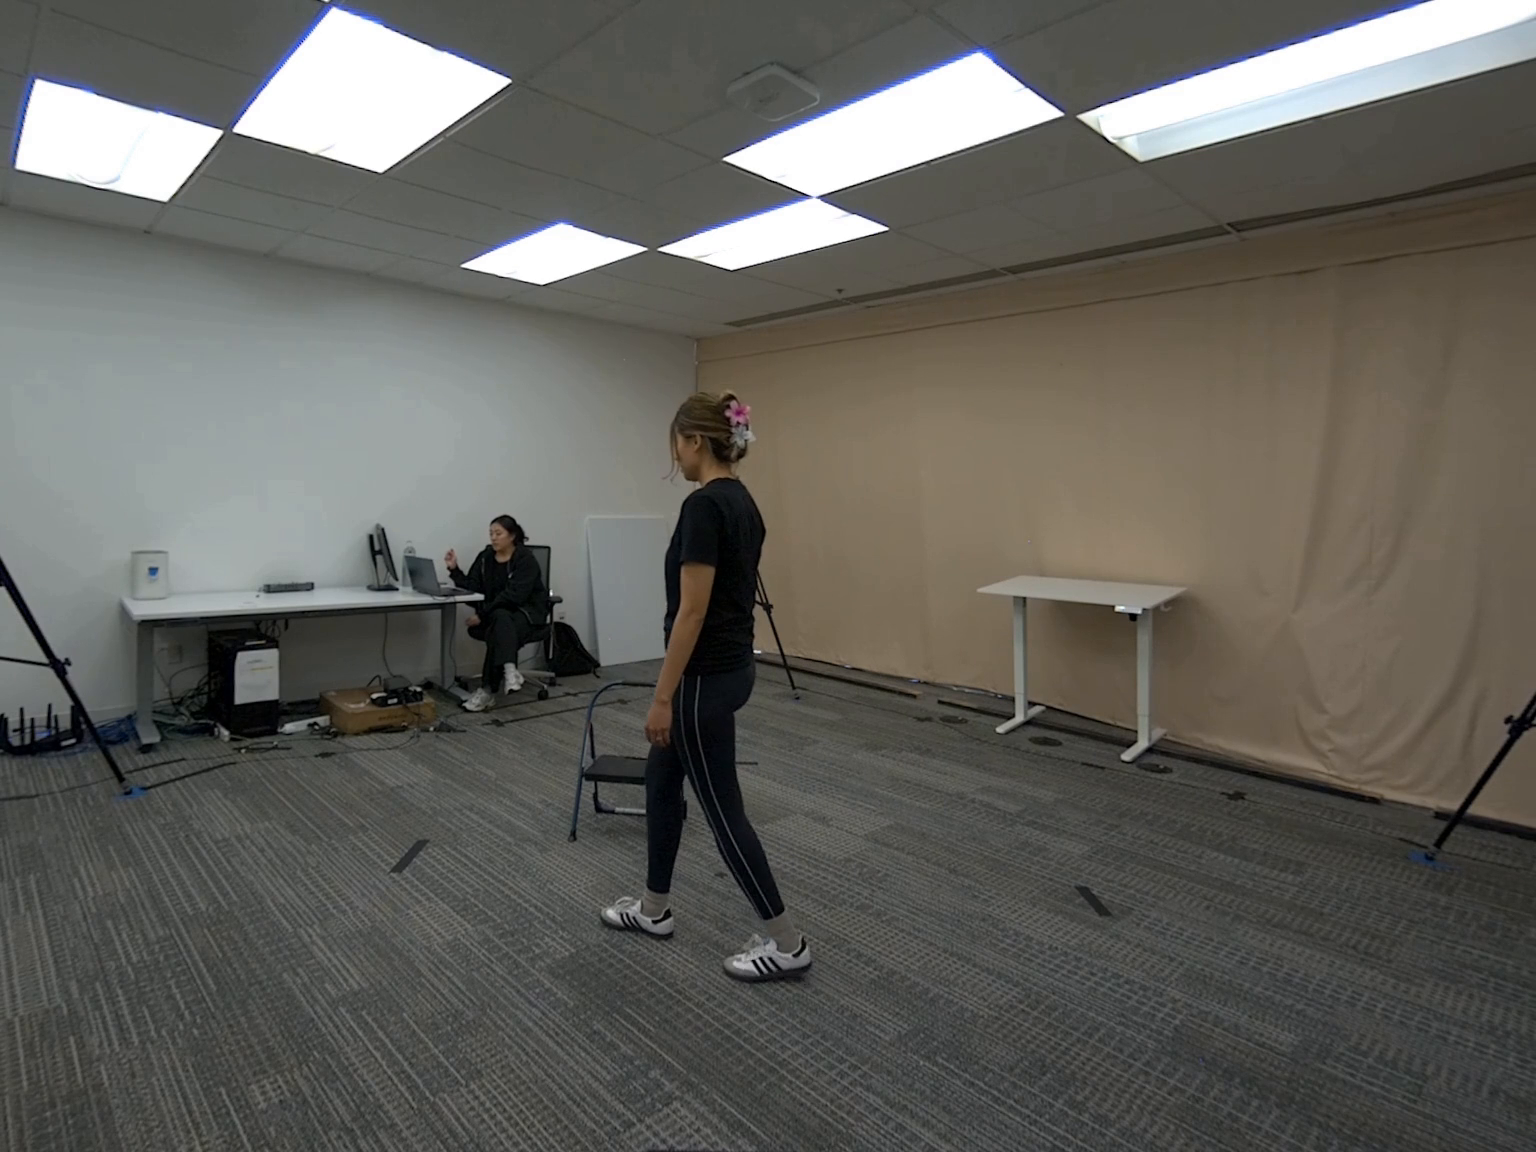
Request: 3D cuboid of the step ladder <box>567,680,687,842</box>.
[{"bbox_3d":[-0.575,0.757,3.497,0.433,0.604,0.348,1,4,7],"label":"step ladder"}]
